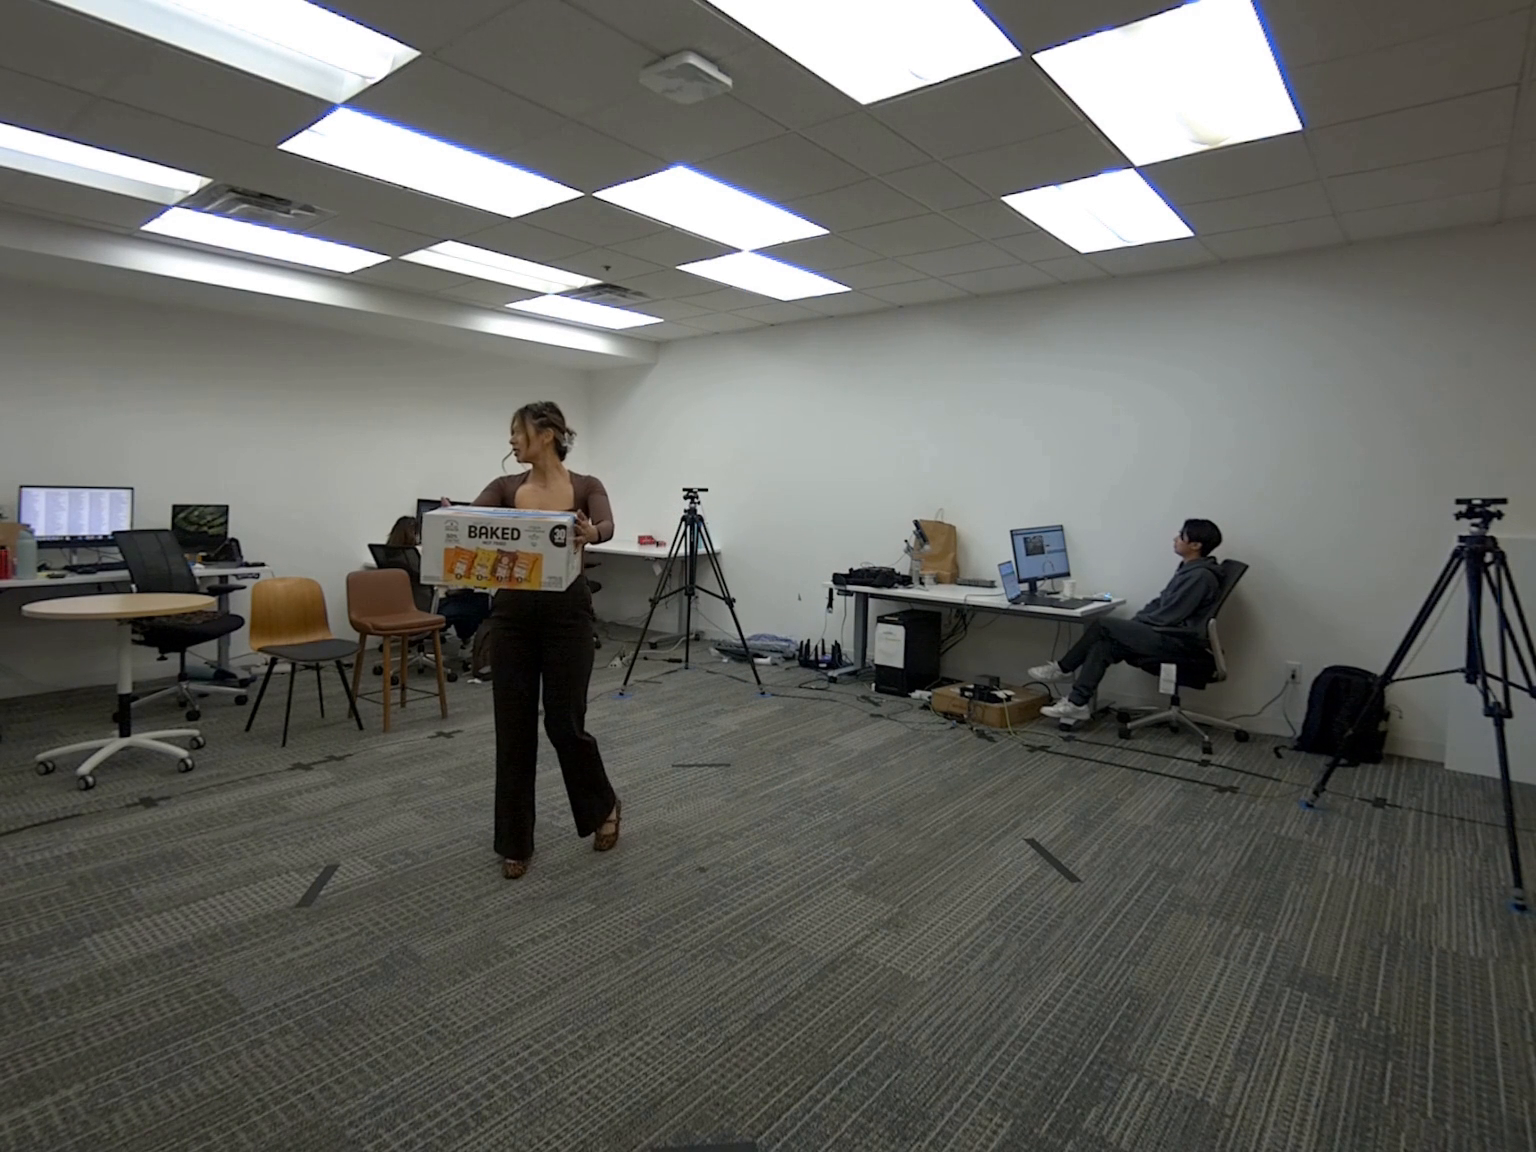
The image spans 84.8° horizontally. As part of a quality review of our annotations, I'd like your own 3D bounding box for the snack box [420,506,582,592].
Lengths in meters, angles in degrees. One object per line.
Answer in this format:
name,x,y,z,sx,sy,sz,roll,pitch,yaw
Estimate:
snack box,-0.794,-0.089,2.564,0.404,0.204,0.343,3,8,-3
